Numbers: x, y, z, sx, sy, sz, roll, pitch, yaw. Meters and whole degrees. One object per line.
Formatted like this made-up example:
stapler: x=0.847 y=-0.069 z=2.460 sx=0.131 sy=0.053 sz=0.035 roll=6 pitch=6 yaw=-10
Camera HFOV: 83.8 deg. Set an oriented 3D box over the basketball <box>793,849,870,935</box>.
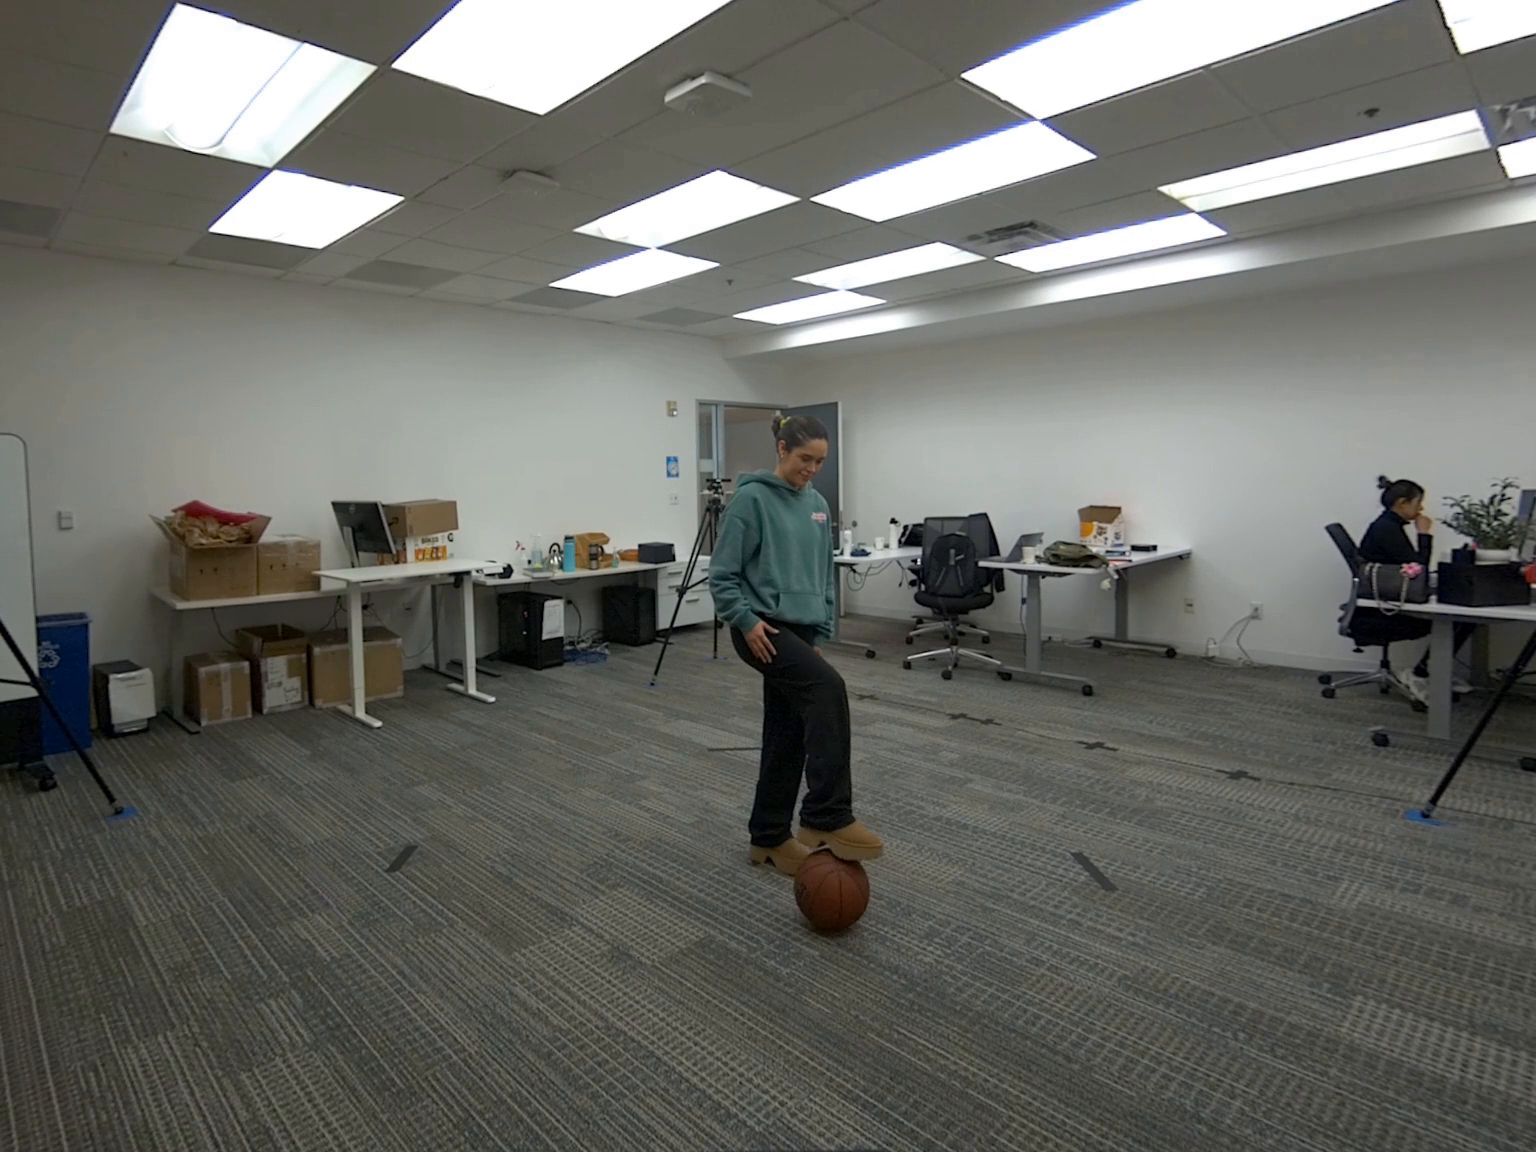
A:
basketball: x=0.199 y=0.975 z=2.655 sx=0.236 sy=0.235 sz=0.237 roll=-1 pitch=5 yaw=-2
